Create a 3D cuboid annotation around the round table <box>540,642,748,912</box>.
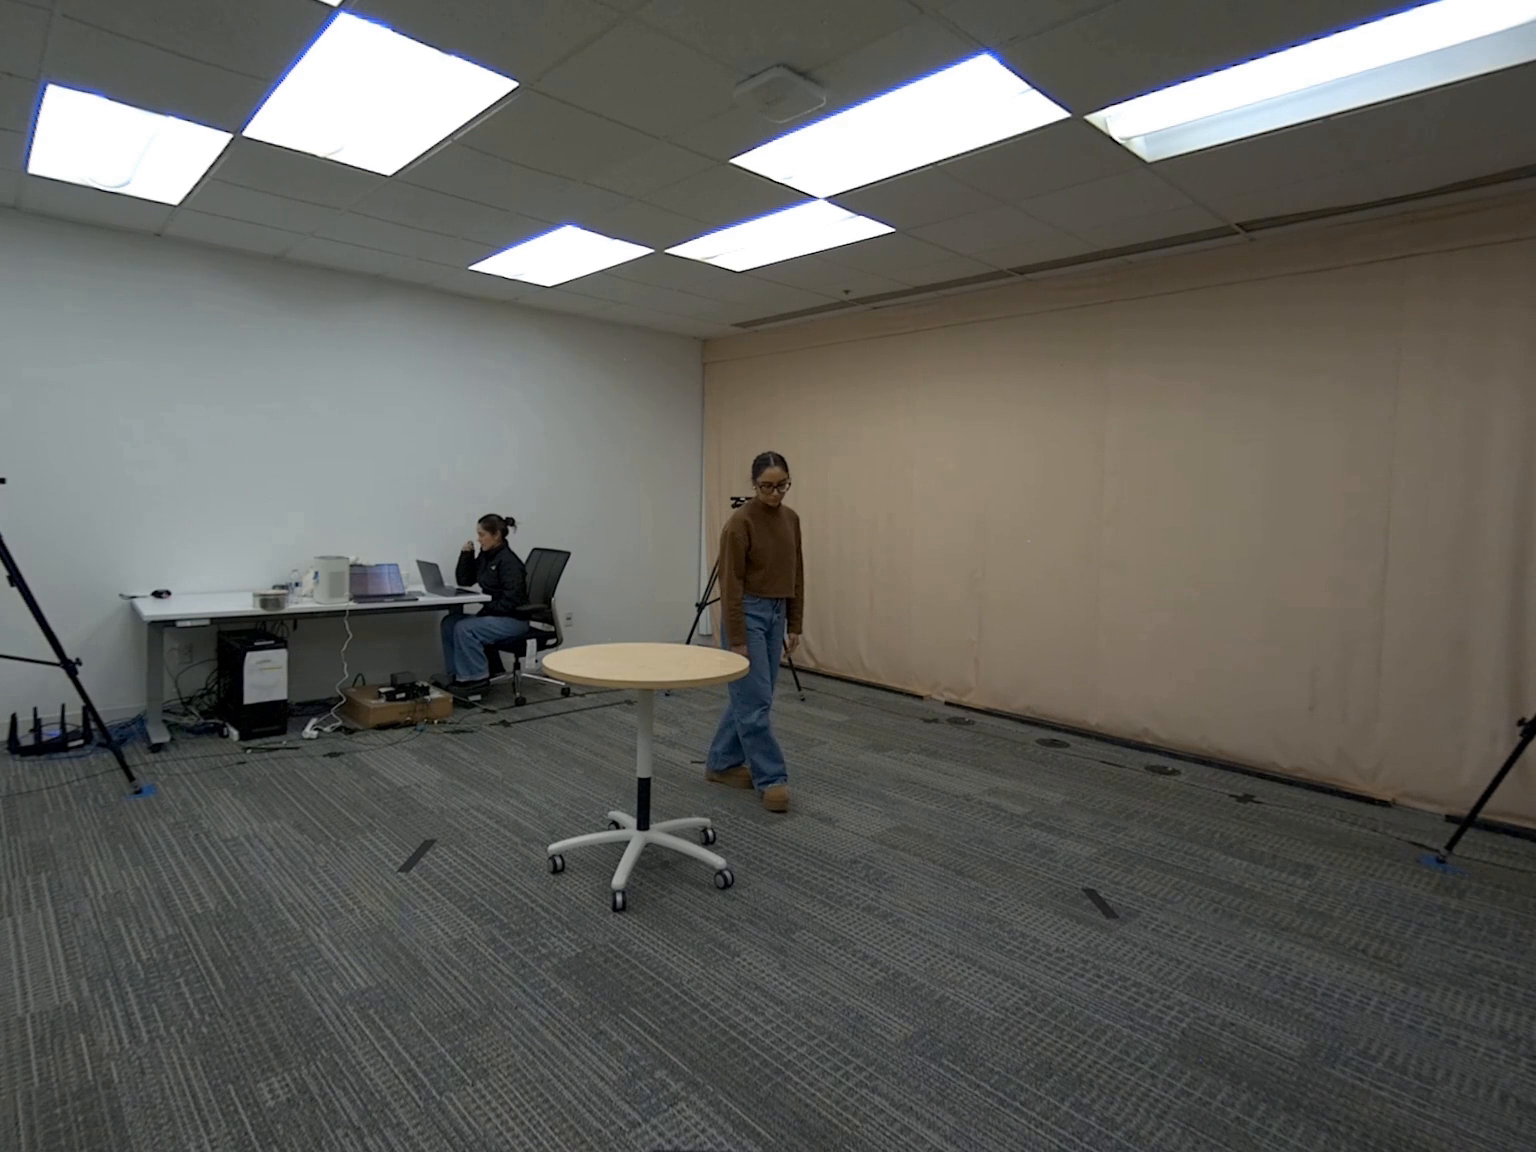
[{"bbox_3d":[-0.465,0.707,3.157,0.763,0.792,0.766,1,4,-1],"label":"round table"}]
